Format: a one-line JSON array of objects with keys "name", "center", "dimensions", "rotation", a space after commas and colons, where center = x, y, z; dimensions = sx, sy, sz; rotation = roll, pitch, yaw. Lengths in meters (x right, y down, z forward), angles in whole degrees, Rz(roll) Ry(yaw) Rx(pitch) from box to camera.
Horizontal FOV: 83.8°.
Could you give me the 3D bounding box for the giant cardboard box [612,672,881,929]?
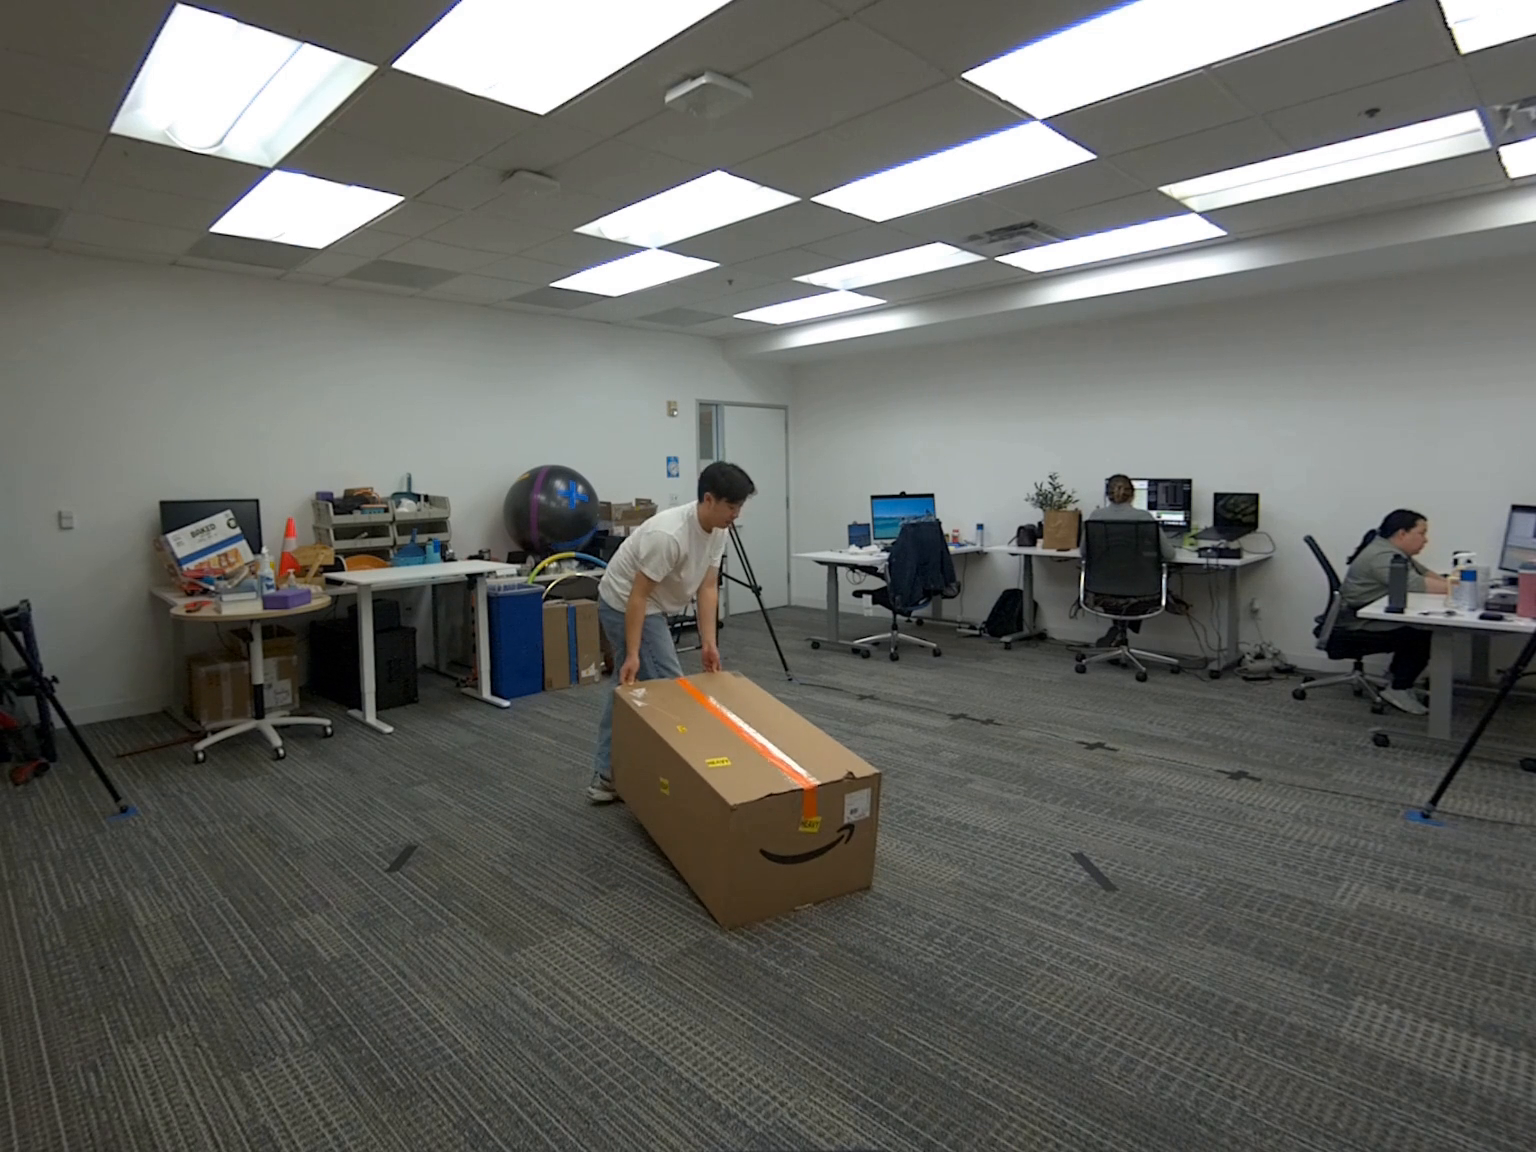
[{"name": "giant cardboard box", "center": [-0.129, 0.754, 3.173], "dimensions": [0.564, 0.422, 1.060], "rotation": [-5, 15, -29]}]
